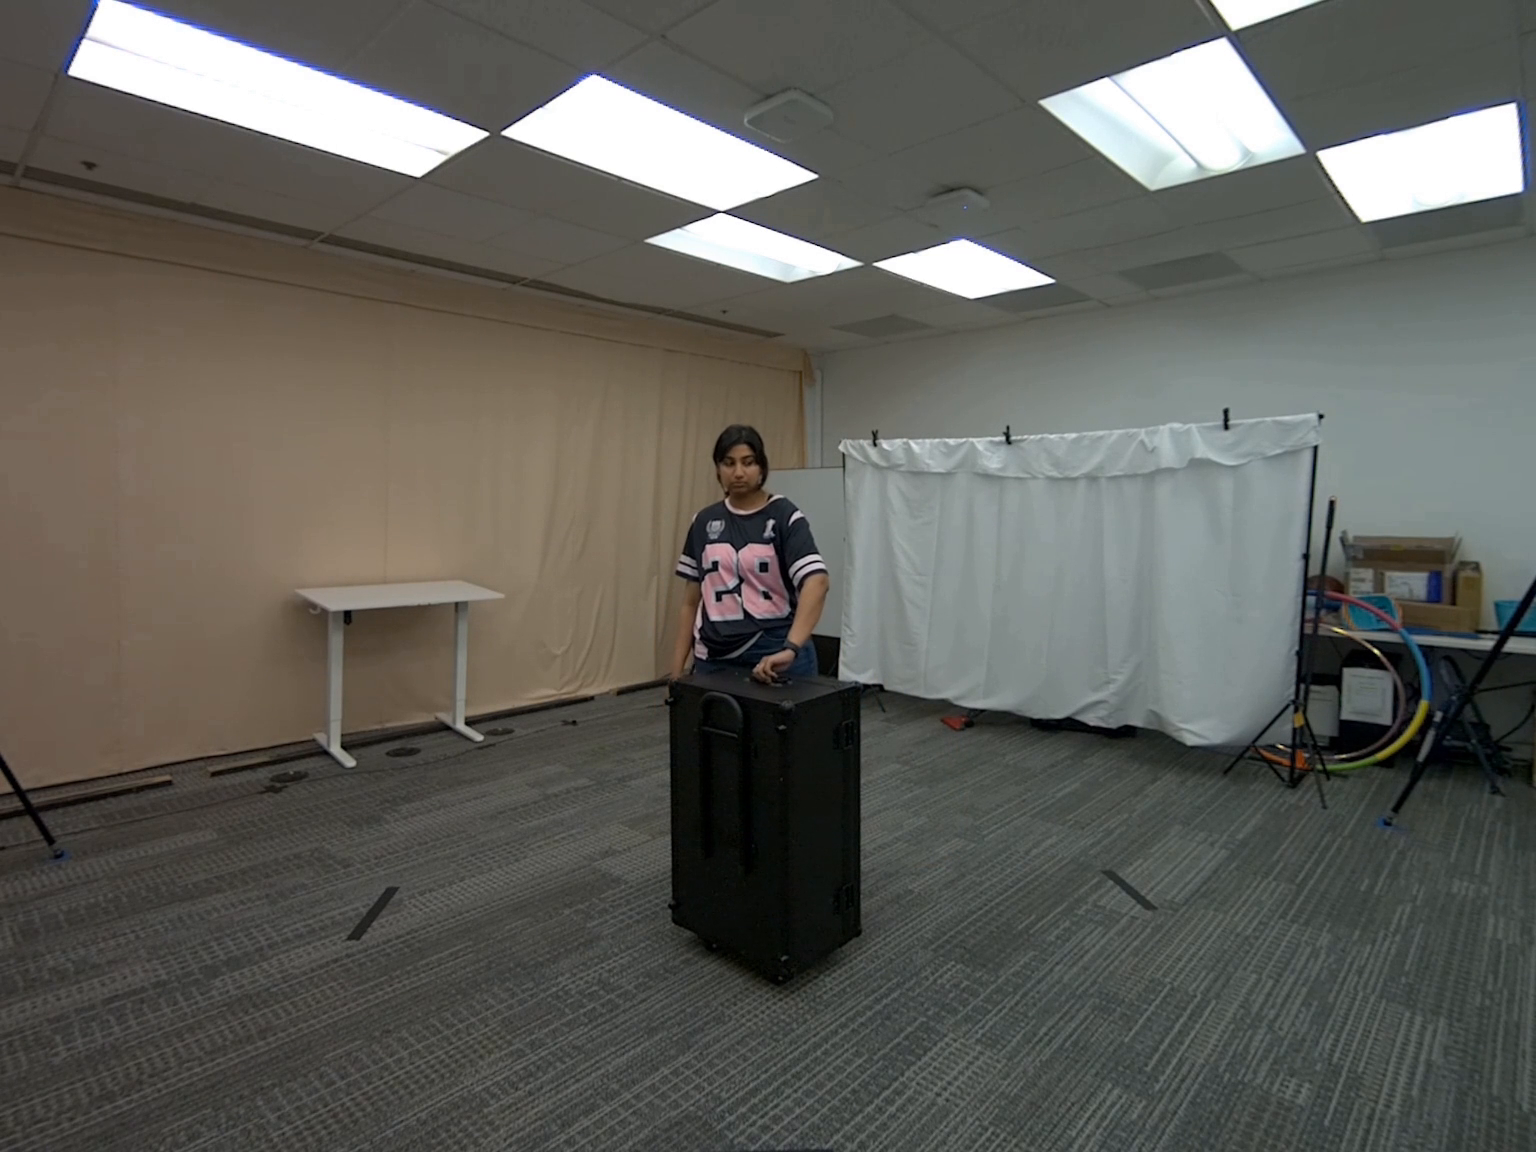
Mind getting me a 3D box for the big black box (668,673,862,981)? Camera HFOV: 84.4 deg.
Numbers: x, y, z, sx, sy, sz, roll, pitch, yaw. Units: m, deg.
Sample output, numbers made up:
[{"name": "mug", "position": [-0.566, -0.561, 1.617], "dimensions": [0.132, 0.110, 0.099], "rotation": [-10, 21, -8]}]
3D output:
[{"name": "big black box", "position": [-0.003, 0.753, 2.604], "dimensions": [0.541, 0.866, 0.373], "rotation": [2, 5, 42]}]
